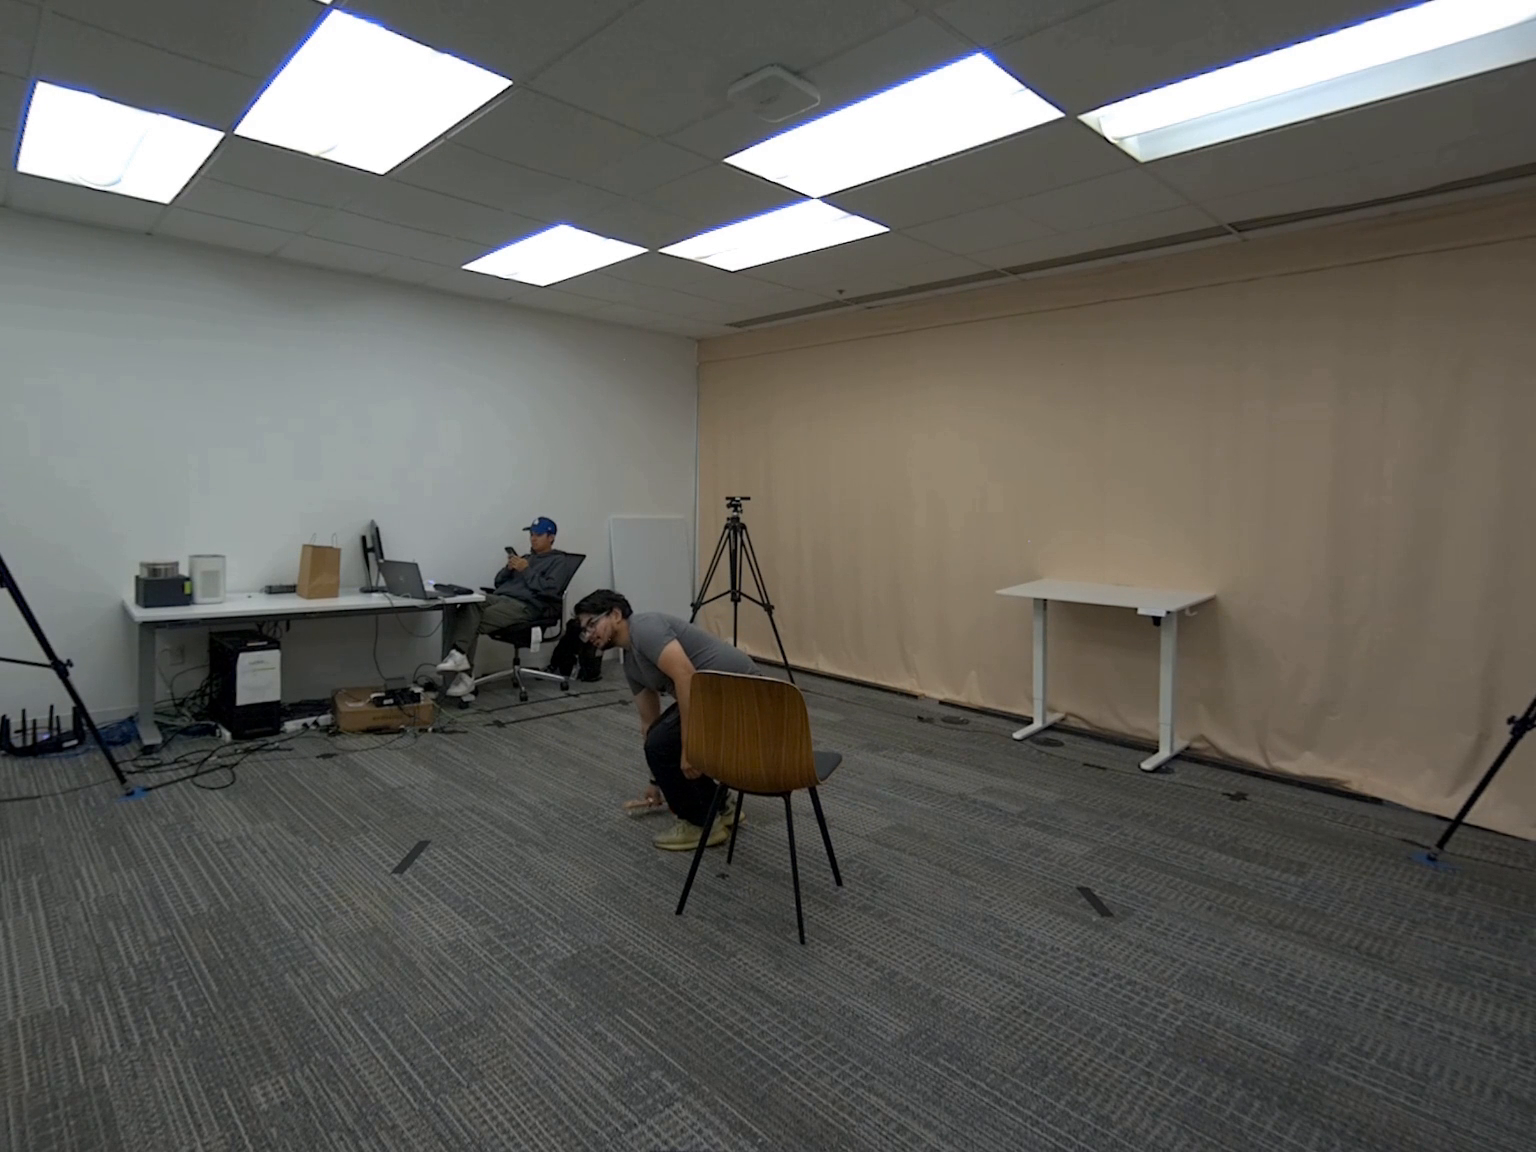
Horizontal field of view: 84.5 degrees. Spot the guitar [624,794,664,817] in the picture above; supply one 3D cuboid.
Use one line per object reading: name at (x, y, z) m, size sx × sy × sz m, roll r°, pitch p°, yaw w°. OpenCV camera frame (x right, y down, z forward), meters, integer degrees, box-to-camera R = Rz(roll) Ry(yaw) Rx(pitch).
guitar at (-0.431, 1.011, 3.786) m, size 0.490 × 0.070 × 0.197 m, roll 0°, pitch 7°, yaw -21°
